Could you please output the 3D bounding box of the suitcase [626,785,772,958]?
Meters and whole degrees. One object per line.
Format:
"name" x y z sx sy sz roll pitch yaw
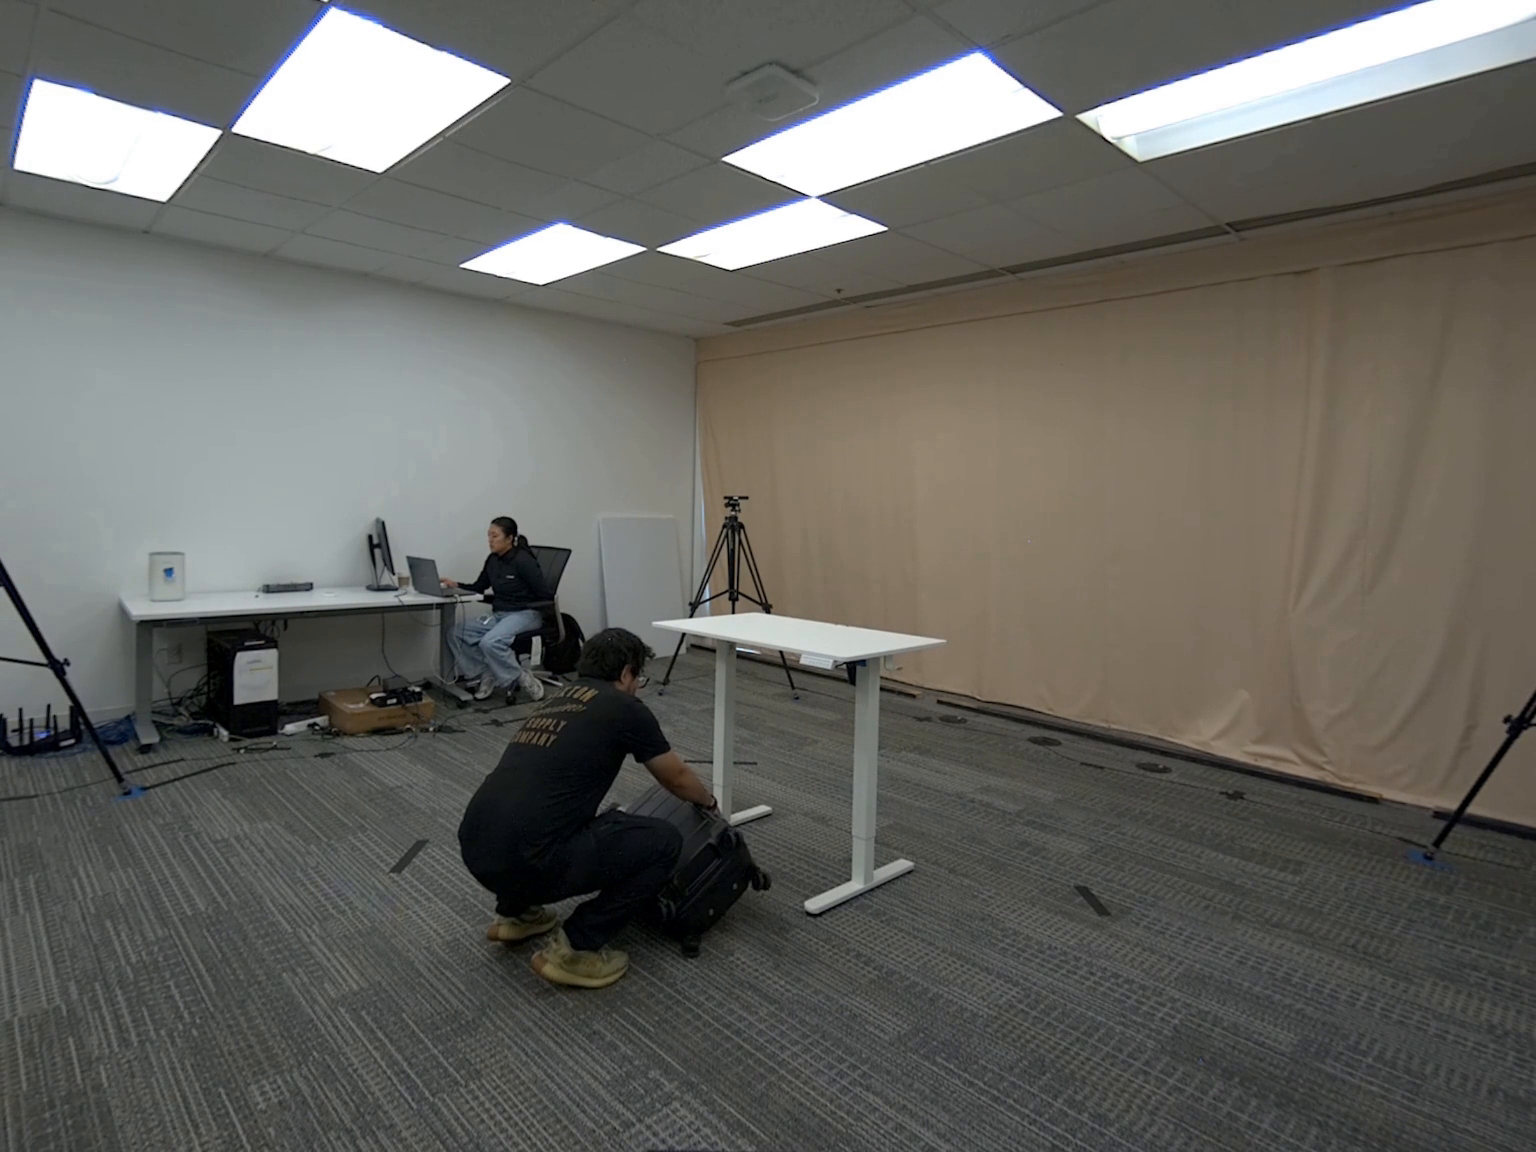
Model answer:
"suitcase" -0.436 0.922 2.966 0.382 0.251 1.004 -39 27 -26
